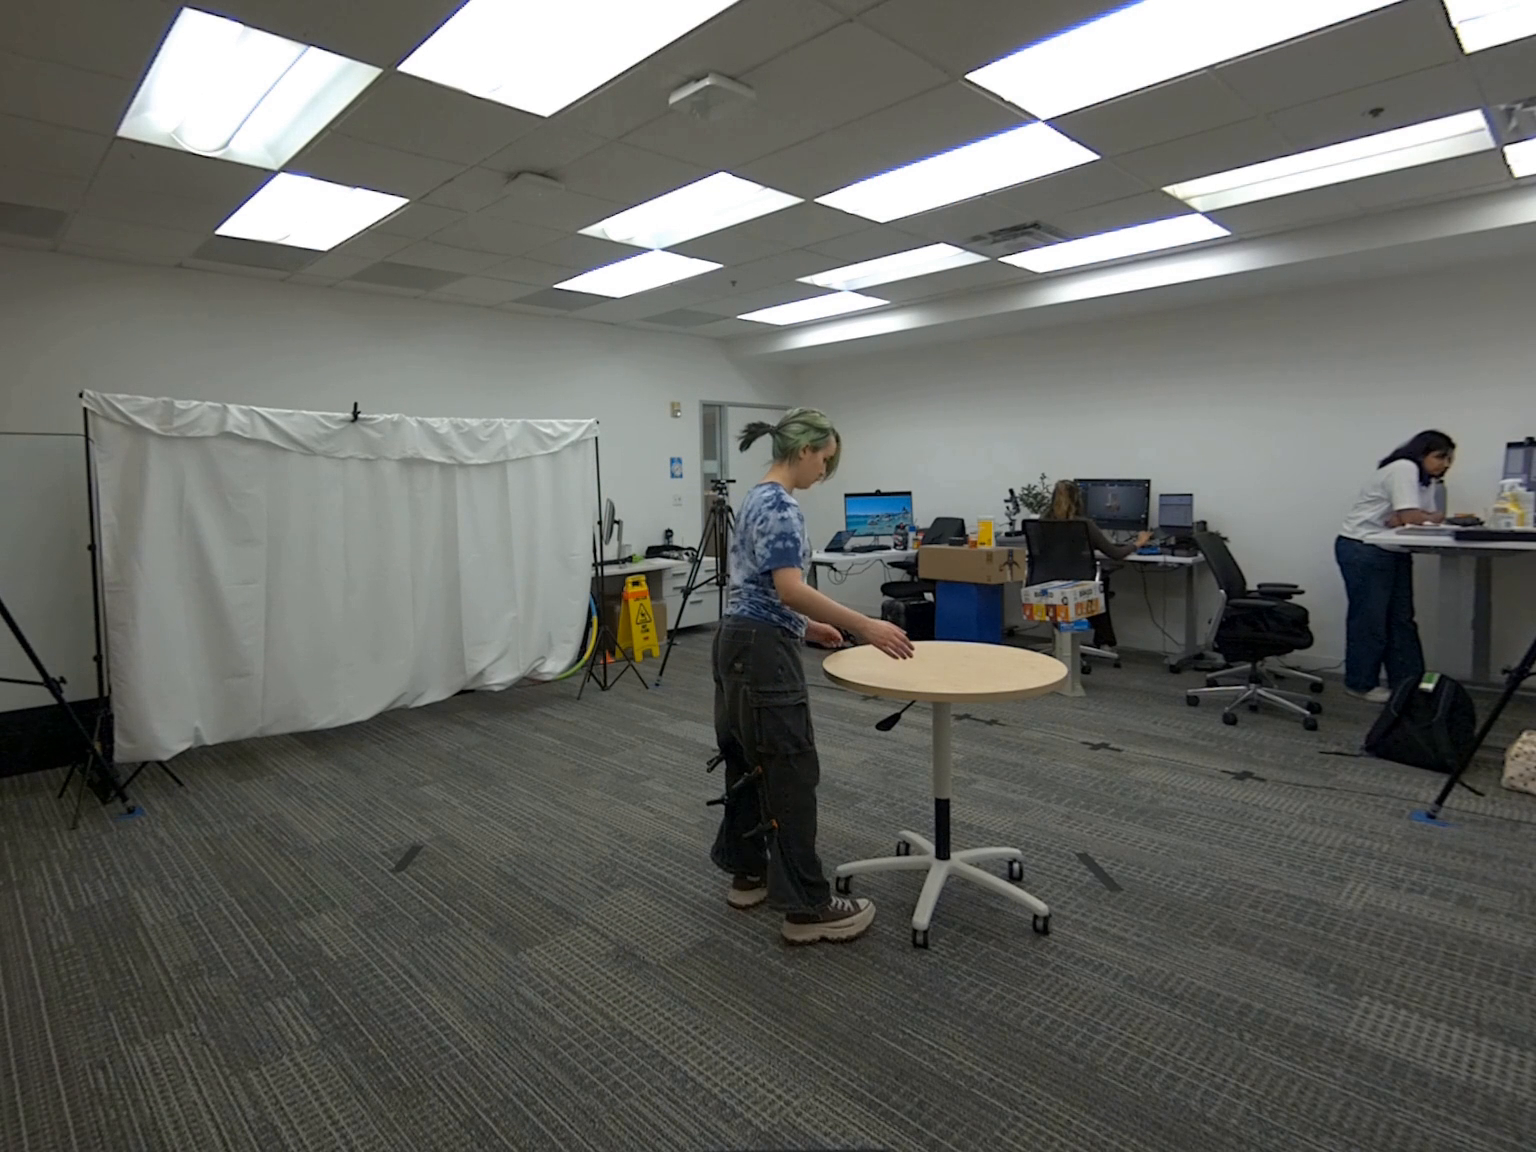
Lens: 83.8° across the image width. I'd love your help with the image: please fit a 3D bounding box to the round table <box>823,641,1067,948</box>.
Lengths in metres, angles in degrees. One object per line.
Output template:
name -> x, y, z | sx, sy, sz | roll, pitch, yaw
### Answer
round table -> 0.572, 0.679, 2.803 | 0.763, 0.791, 0.768 | -1, 5, -2
